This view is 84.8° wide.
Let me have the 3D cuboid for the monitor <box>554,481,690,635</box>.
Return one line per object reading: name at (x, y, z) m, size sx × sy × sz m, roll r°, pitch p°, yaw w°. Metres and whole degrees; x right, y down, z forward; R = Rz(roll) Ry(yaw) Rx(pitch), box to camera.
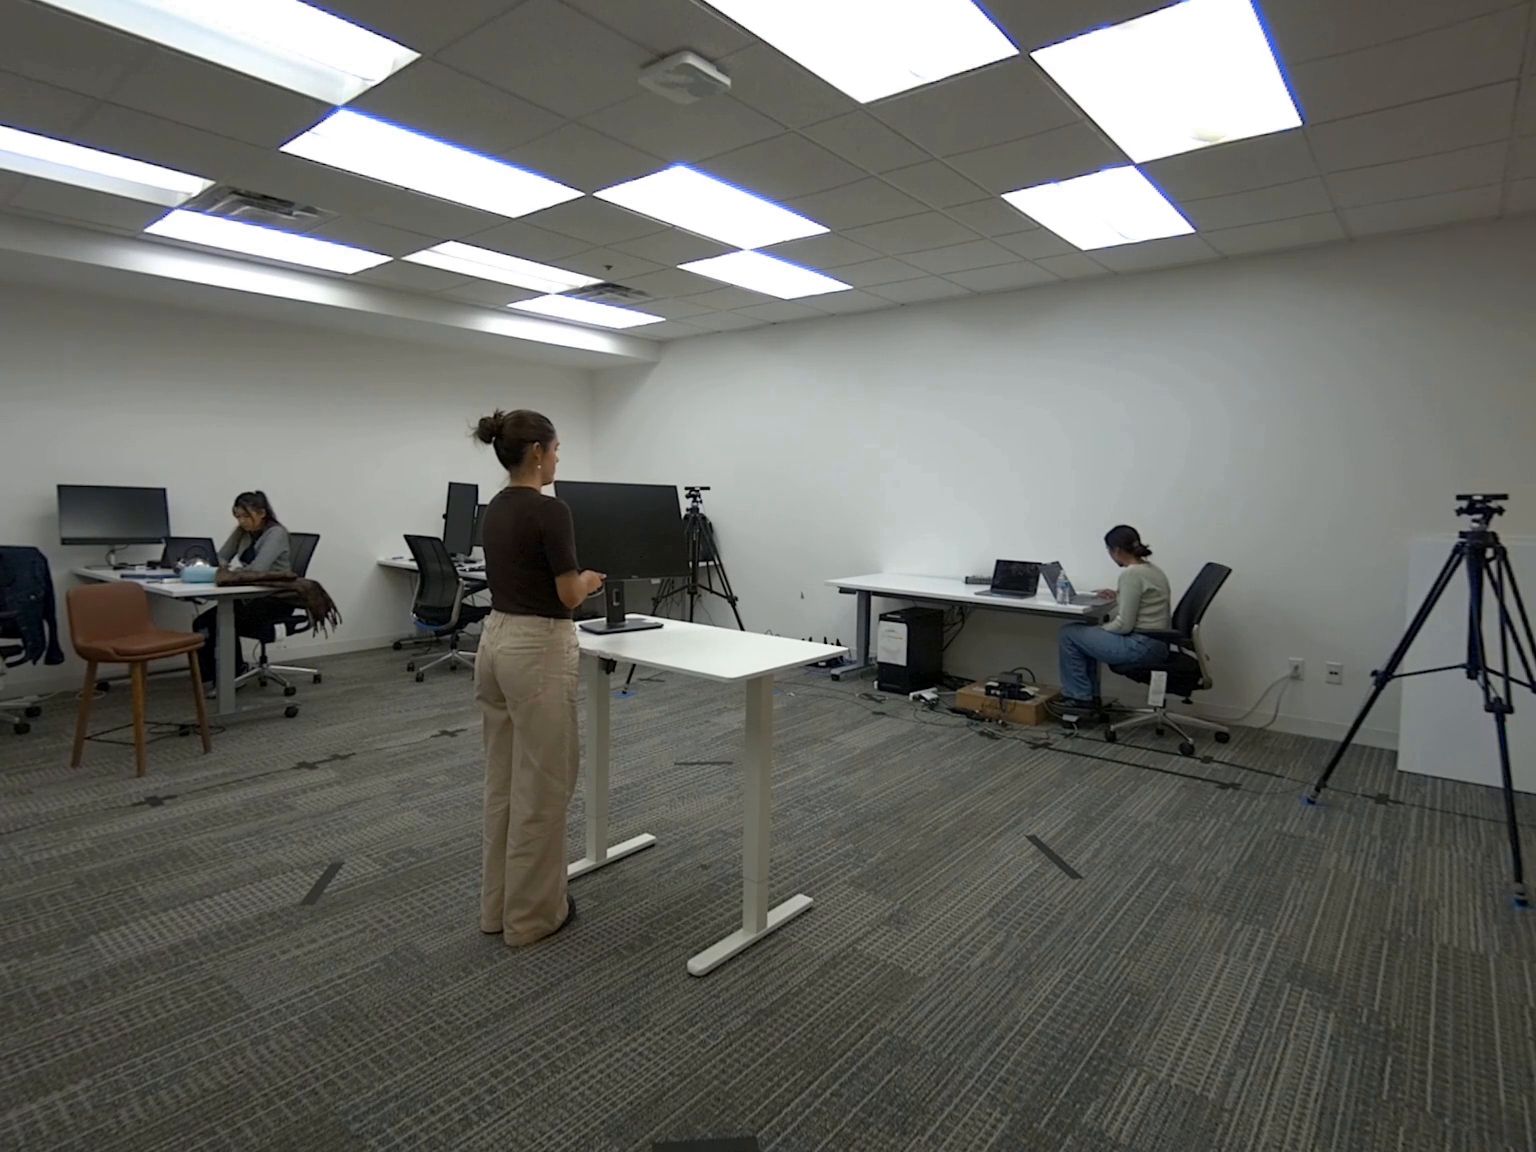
monitor at (-0.542, -0.071, 3.031) m, size 0.522 × 0.522 × 0.193 m, roll -2°, pitch 2°, yaw -44°
